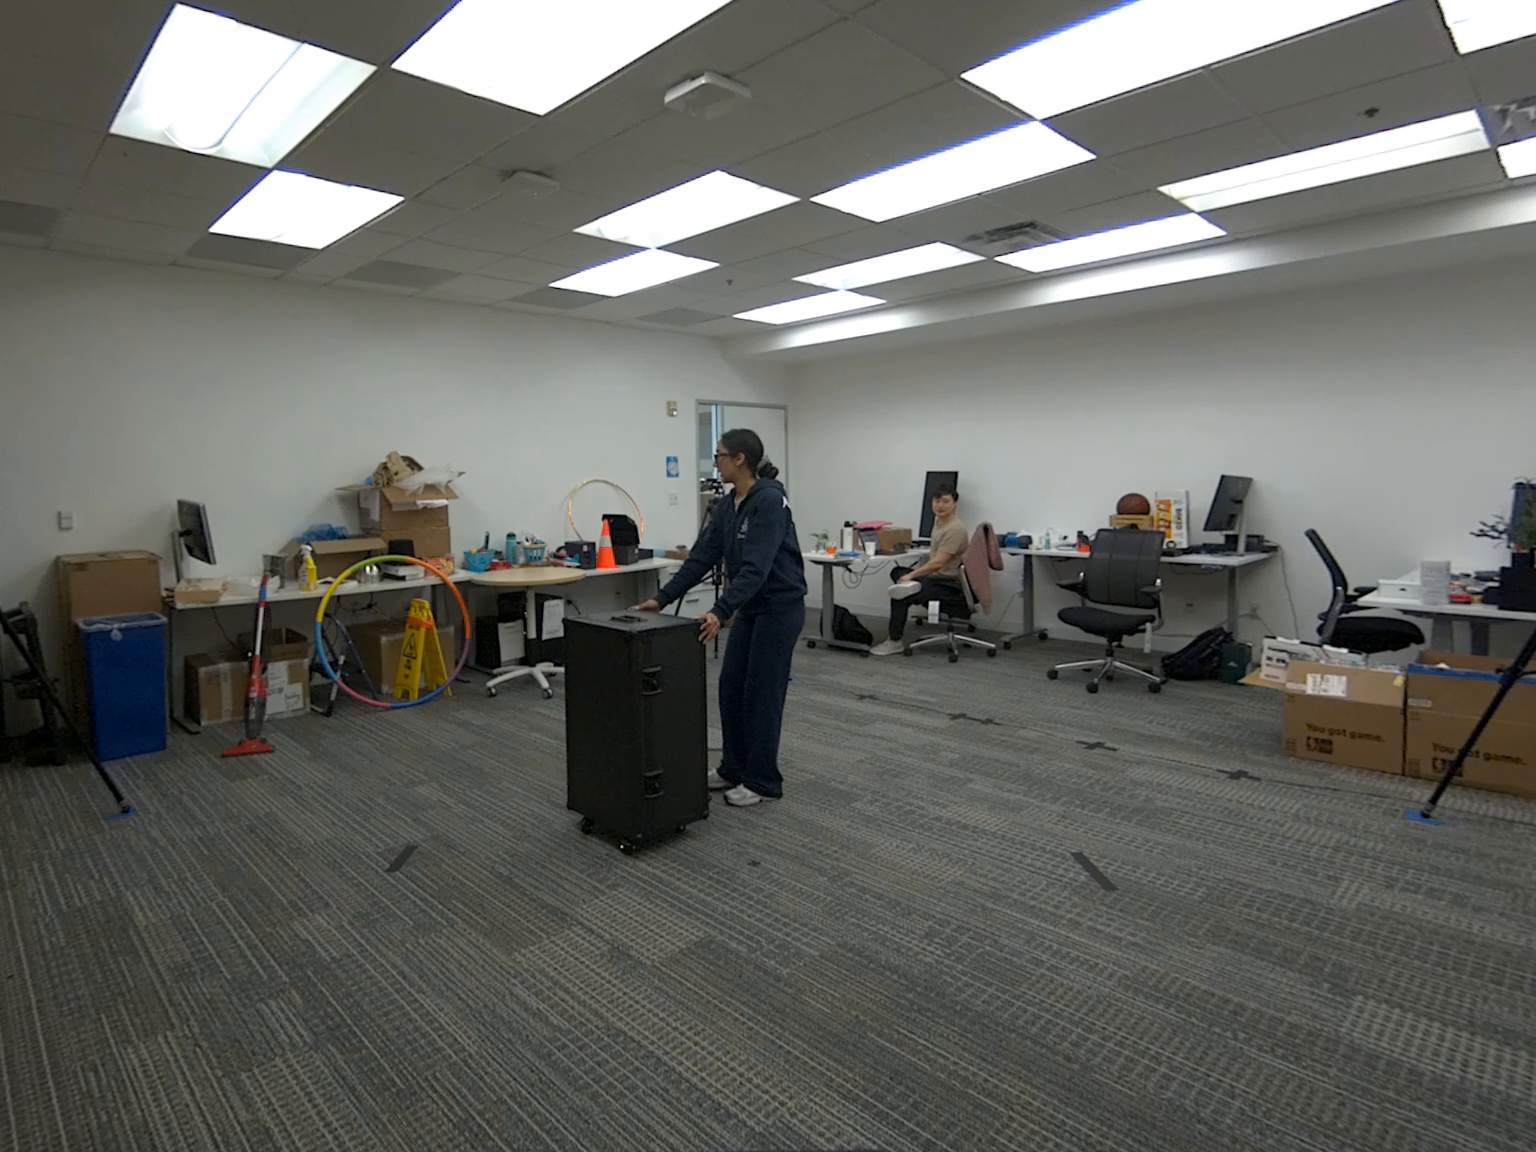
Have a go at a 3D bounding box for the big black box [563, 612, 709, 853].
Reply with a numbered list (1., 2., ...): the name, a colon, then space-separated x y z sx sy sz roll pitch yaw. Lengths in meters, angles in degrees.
1. big black box: -0.527 0.594 3.411 0.385 0.860 0.537 -2 3 -43
